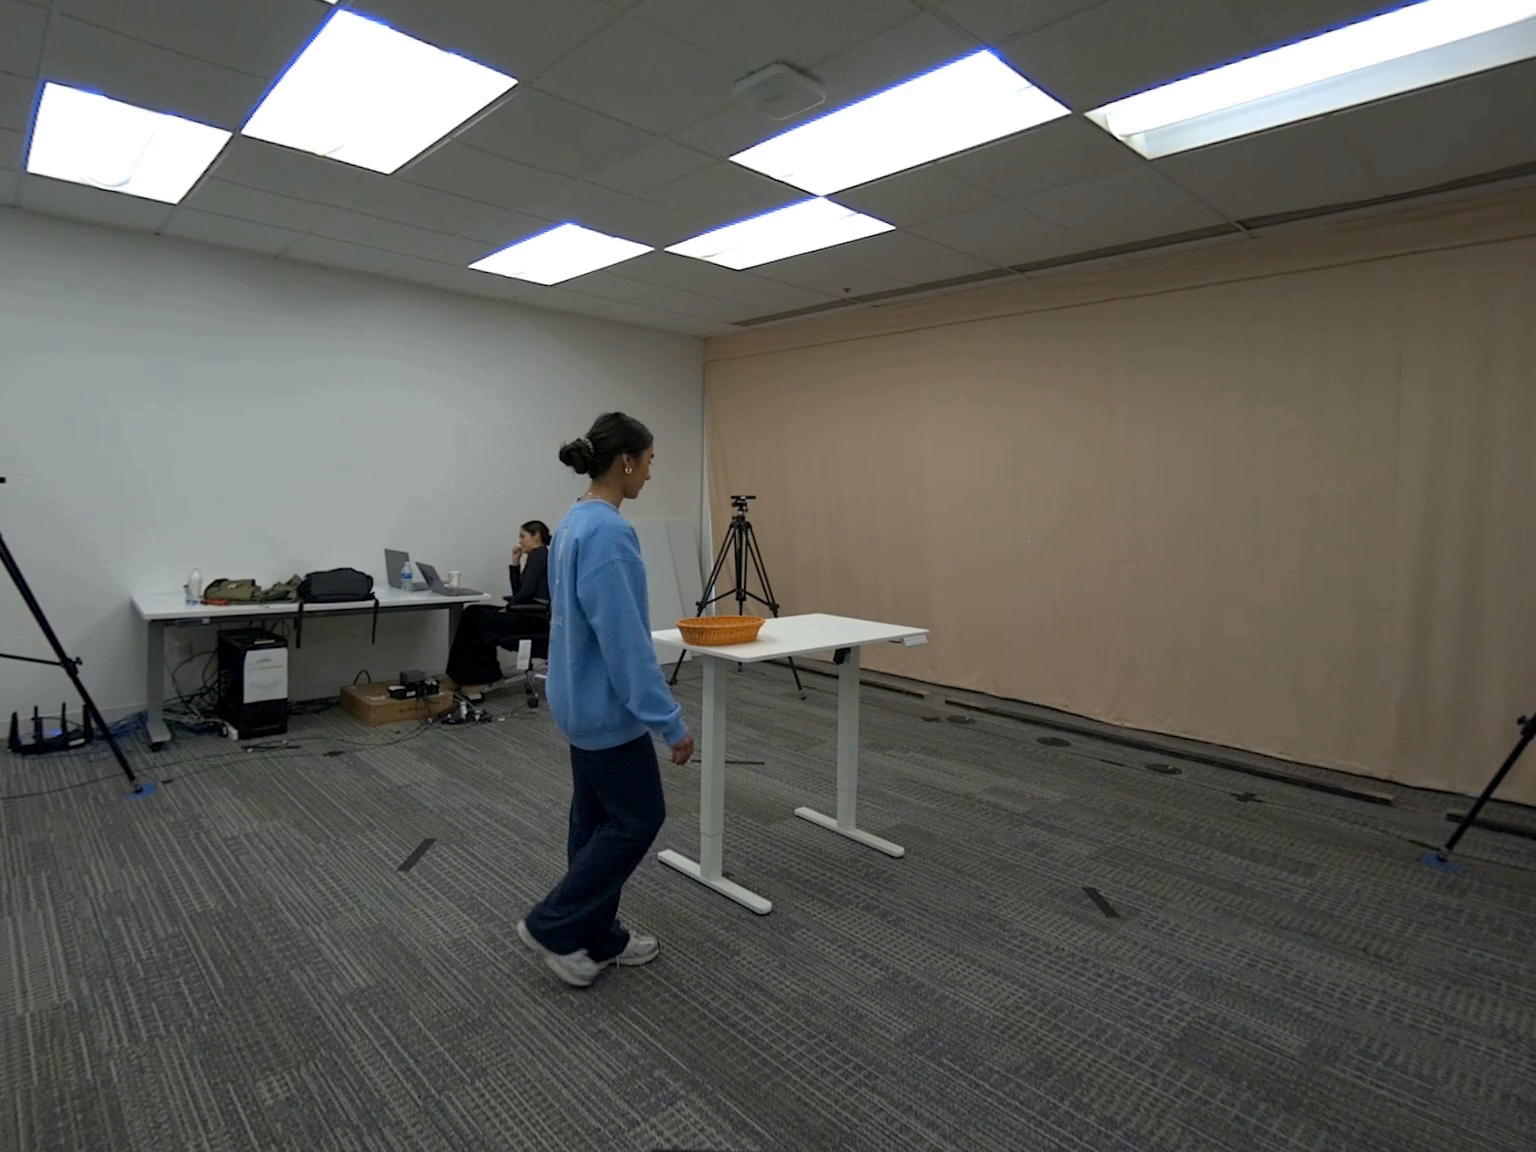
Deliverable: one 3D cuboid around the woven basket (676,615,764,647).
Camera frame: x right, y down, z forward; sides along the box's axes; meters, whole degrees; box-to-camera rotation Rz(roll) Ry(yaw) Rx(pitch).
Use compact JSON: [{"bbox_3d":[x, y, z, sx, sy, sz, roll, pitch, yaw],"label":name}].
[{"bbox_3d":[-0.173,0.201,2.989,0.343,0.073,0.258,-5,5,-39],"label":"woven basket"}]
